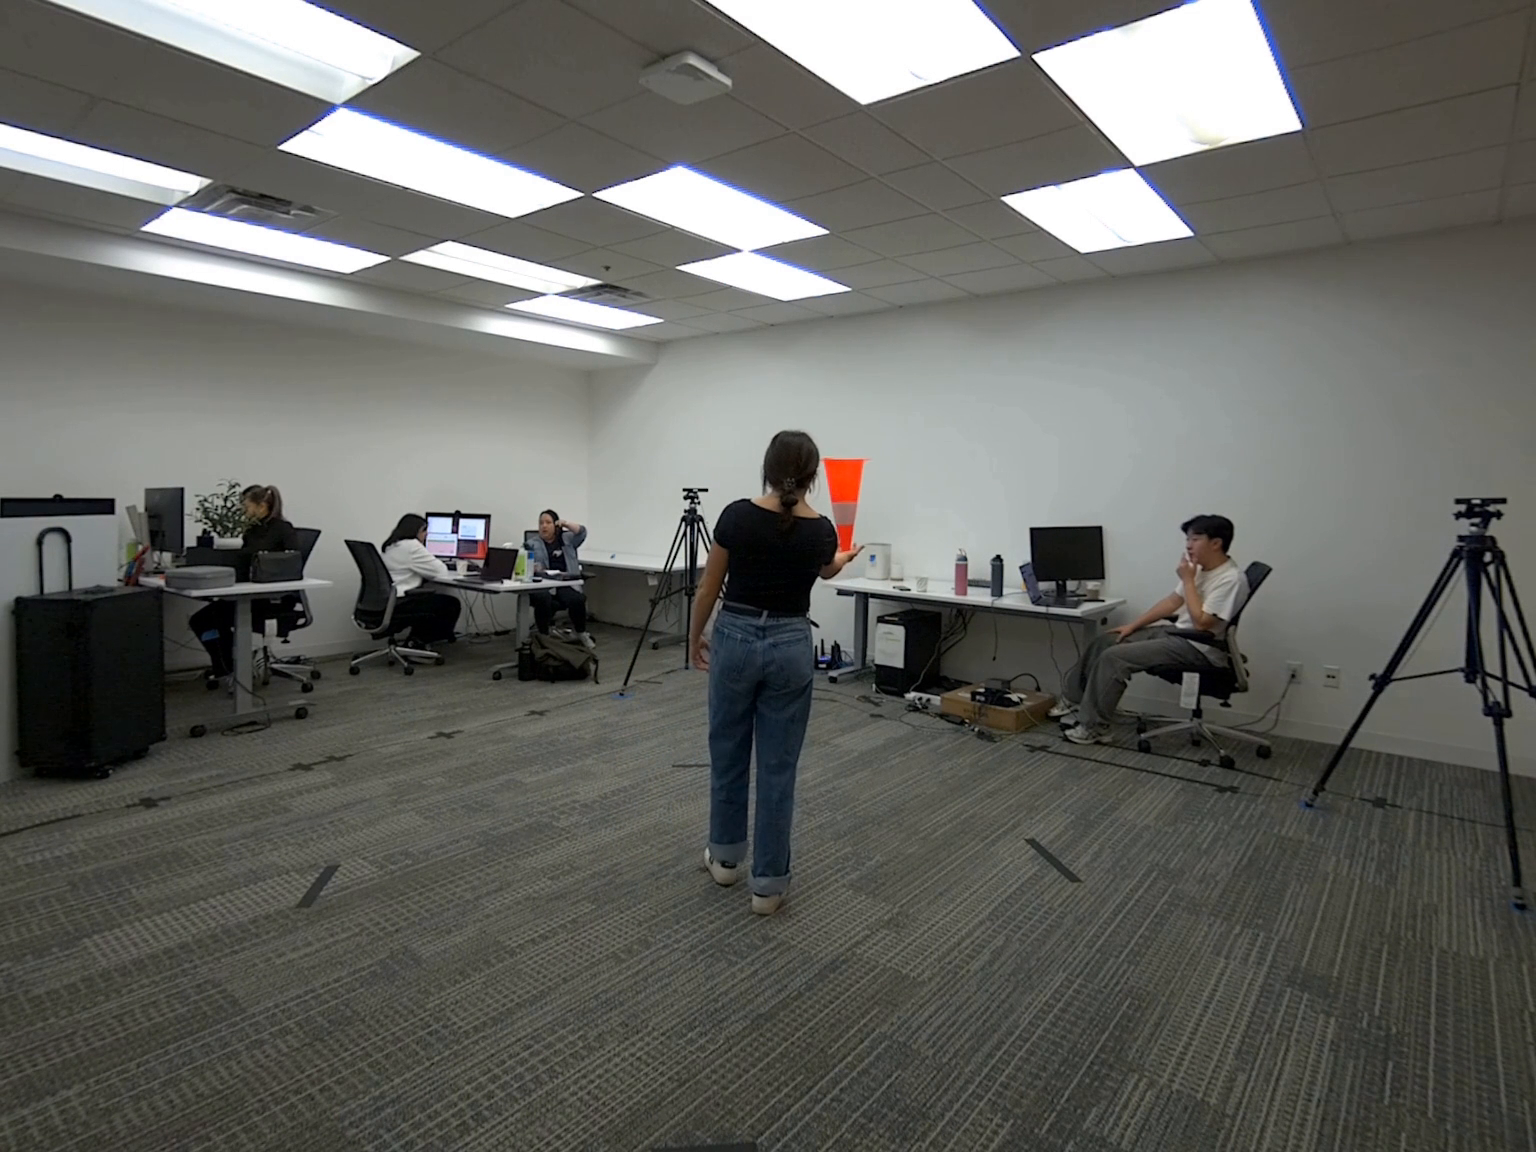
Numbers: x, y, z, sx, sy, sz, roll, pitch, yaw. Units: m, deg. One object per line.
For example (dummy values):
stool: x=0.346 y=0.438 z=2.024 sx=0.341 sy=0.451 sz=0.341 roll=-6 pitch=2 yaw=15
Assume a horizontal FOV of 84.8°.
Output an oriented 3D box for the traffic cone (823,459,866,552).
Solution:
traffic cone: x=0.307 y=-0.277 z=3.396 sx=0.203 sy=0.383 sz=0.205 roll=0 pitch=2 yaw=-1
